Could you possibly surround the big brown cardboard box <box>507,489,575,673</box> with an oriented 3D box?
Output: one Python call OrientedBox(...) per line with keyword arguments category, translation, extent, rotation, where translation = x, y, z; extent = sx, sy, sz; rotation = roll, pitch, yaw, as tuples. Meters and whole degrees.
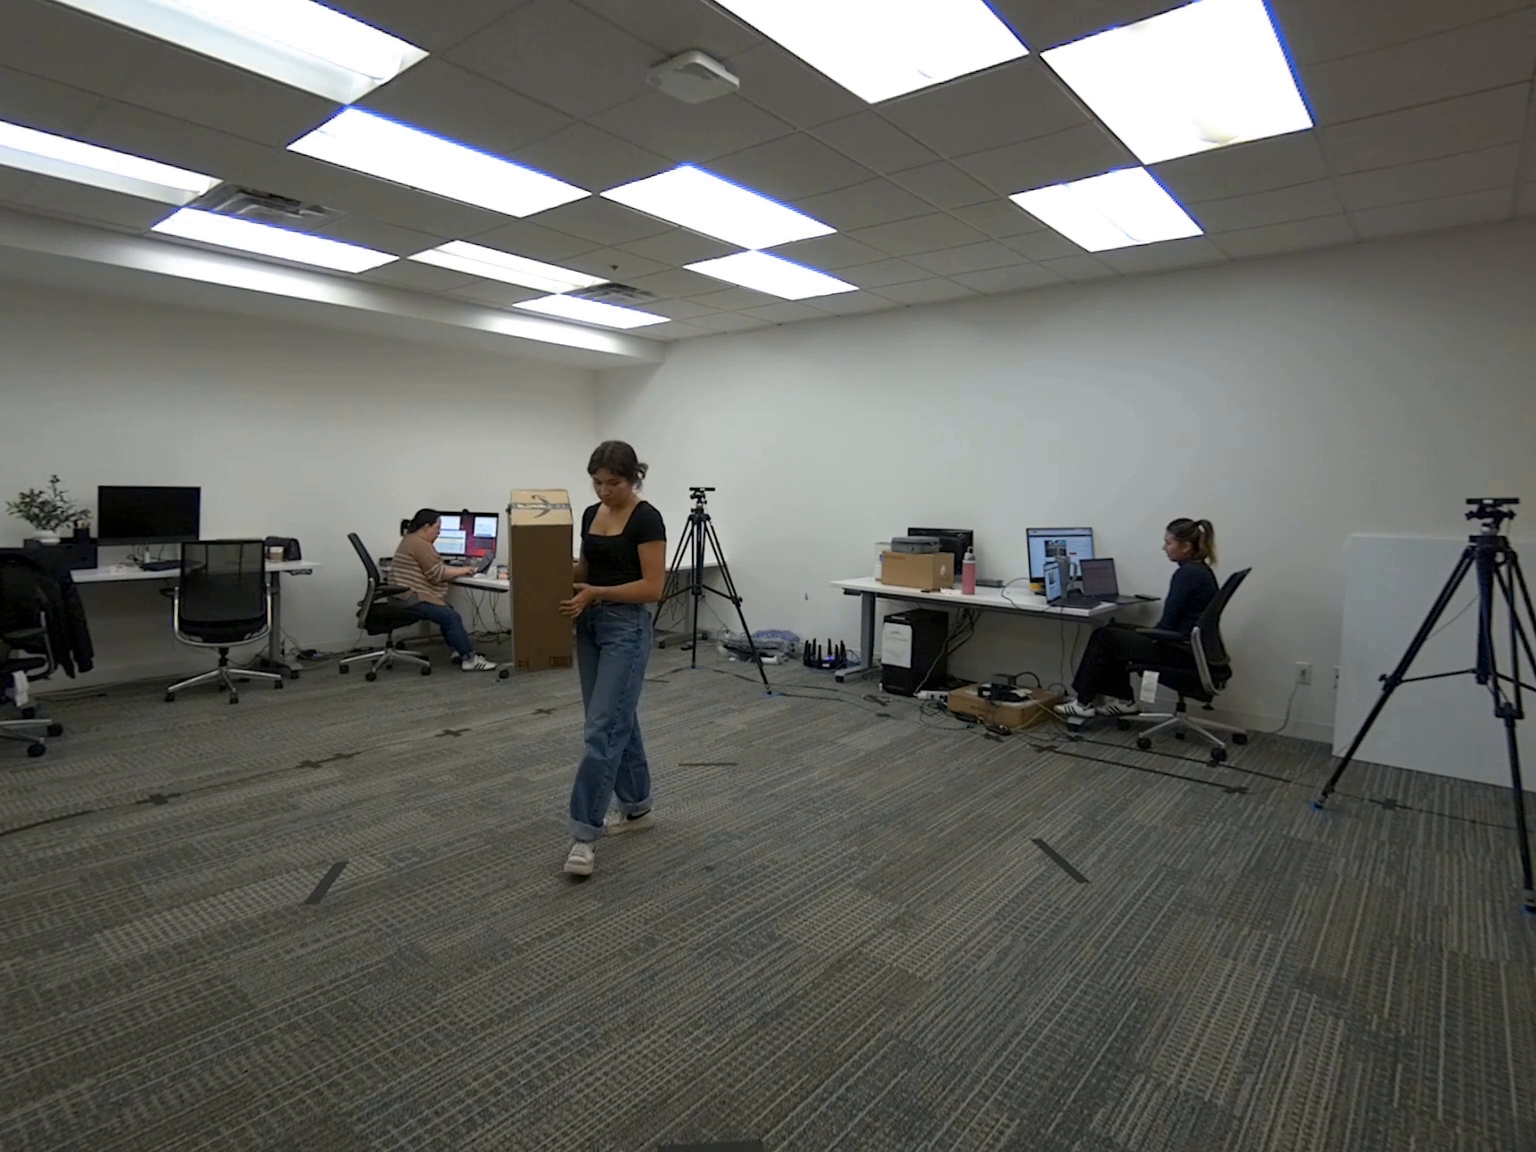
OrientedBox(category="big brown cardboard box", translation=(-0.880, -0.005, 3.220), extent=(0.230, 0.579, 0.430), rotation=(-2, 20, -15))
